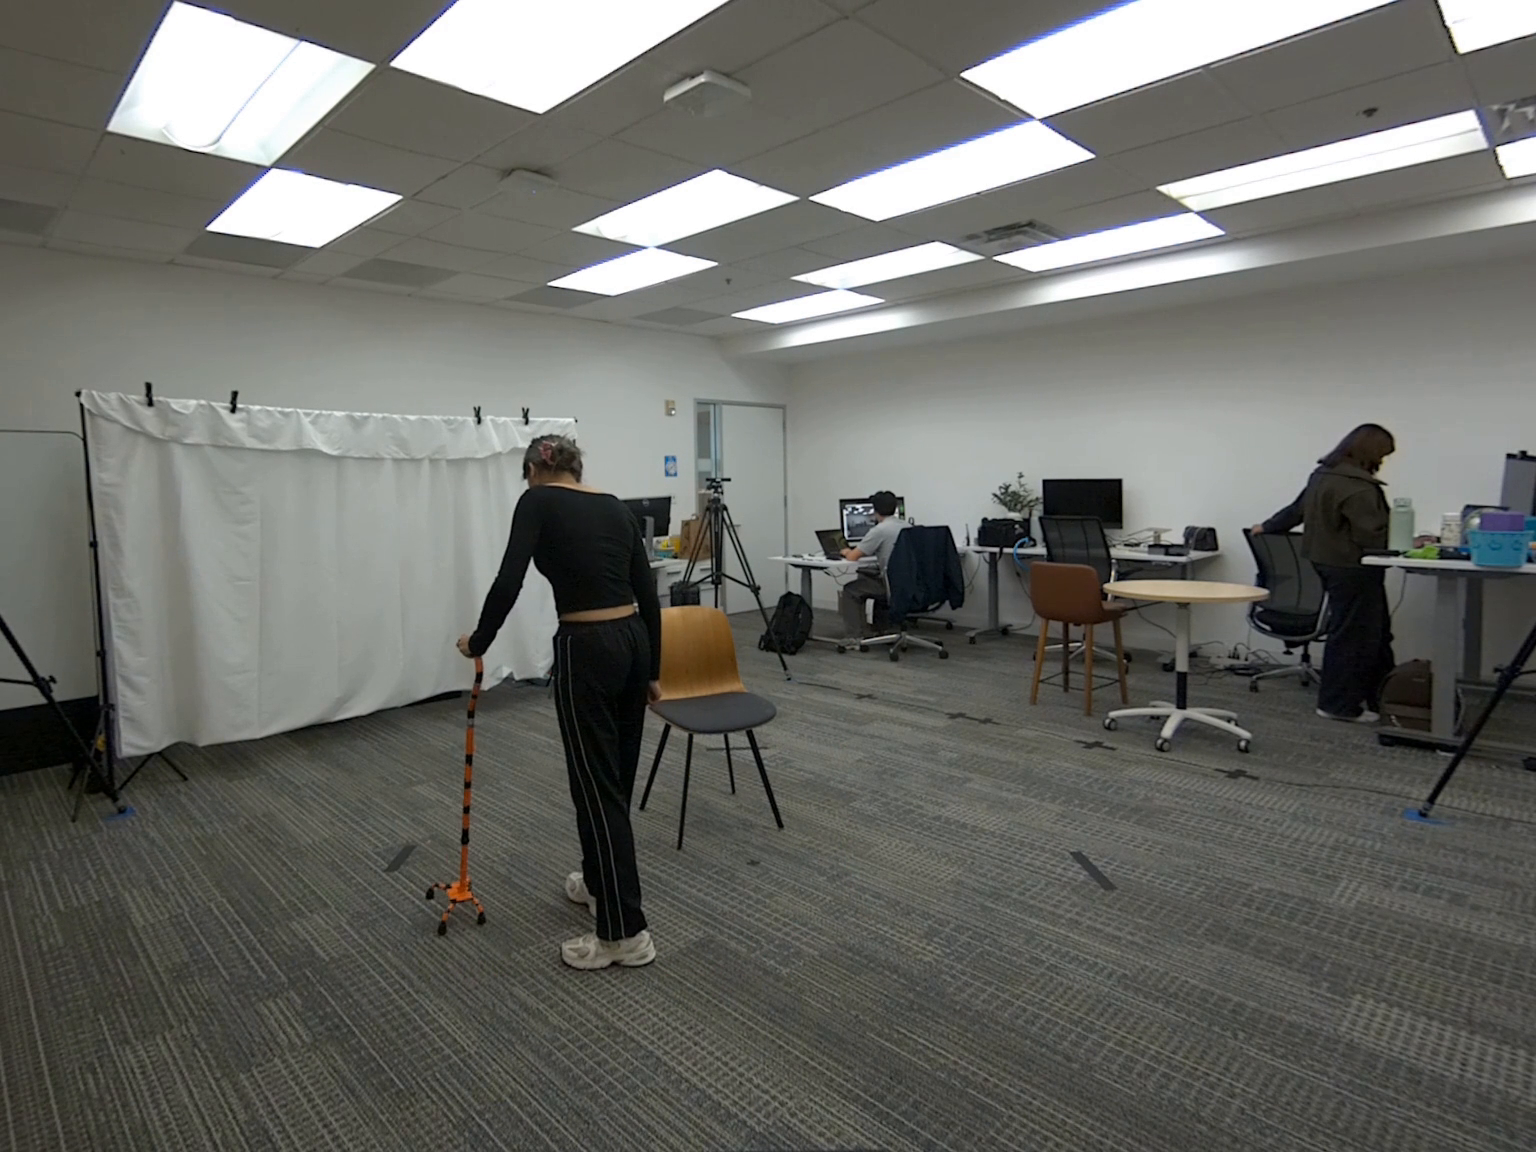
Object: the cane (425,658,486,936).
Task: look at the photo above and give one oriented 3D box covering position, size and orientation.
[{"bbox_3d":[-0.952,0.650,2.666,0.148,0.899,0.213,-1,14,-31],"label":"cane"}]
